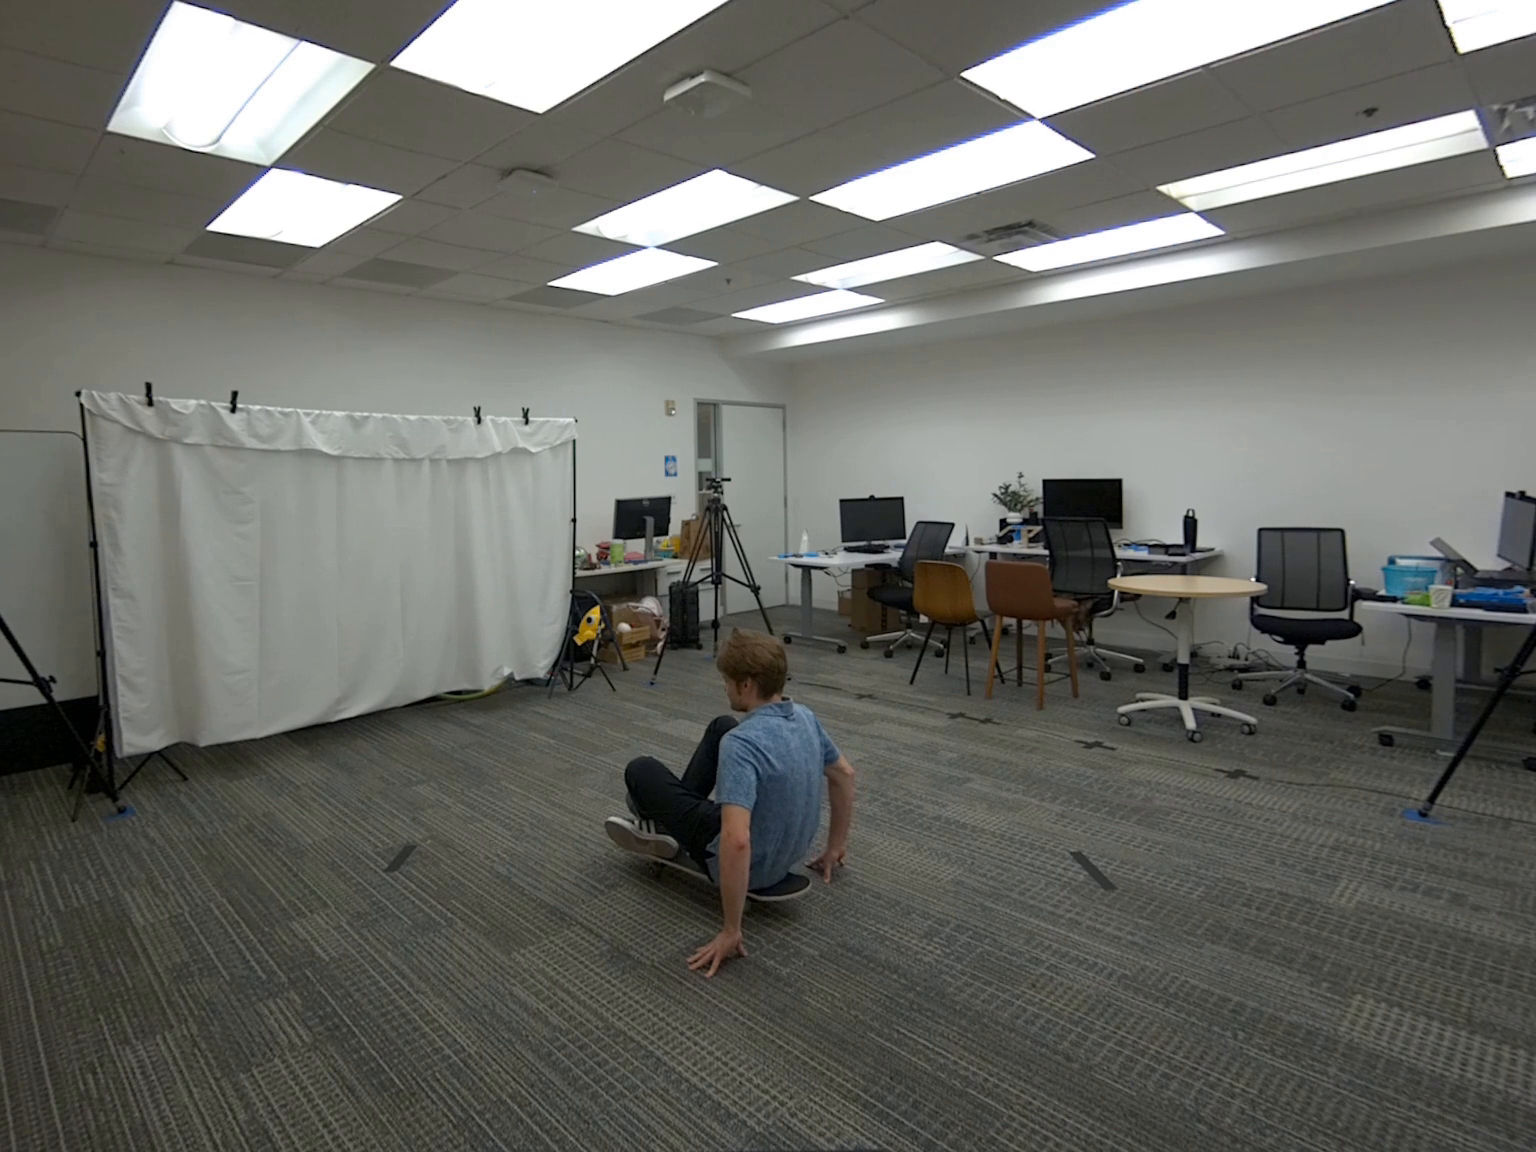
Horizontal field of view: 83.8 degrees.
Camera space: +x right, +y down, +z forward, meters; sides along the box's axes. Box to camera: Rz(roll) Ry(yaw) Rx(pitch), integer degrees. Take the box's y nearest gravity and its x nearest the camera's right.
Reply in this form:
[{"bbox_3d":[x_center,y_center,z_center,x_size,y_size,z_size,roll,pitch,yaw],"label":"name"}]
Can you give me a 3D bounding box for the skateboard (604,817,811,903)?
[{"bbox_3d":[-0.212,1.016,2.925,0.808,0.109,0.190,4,12,33],"label":"skateboard"}]
